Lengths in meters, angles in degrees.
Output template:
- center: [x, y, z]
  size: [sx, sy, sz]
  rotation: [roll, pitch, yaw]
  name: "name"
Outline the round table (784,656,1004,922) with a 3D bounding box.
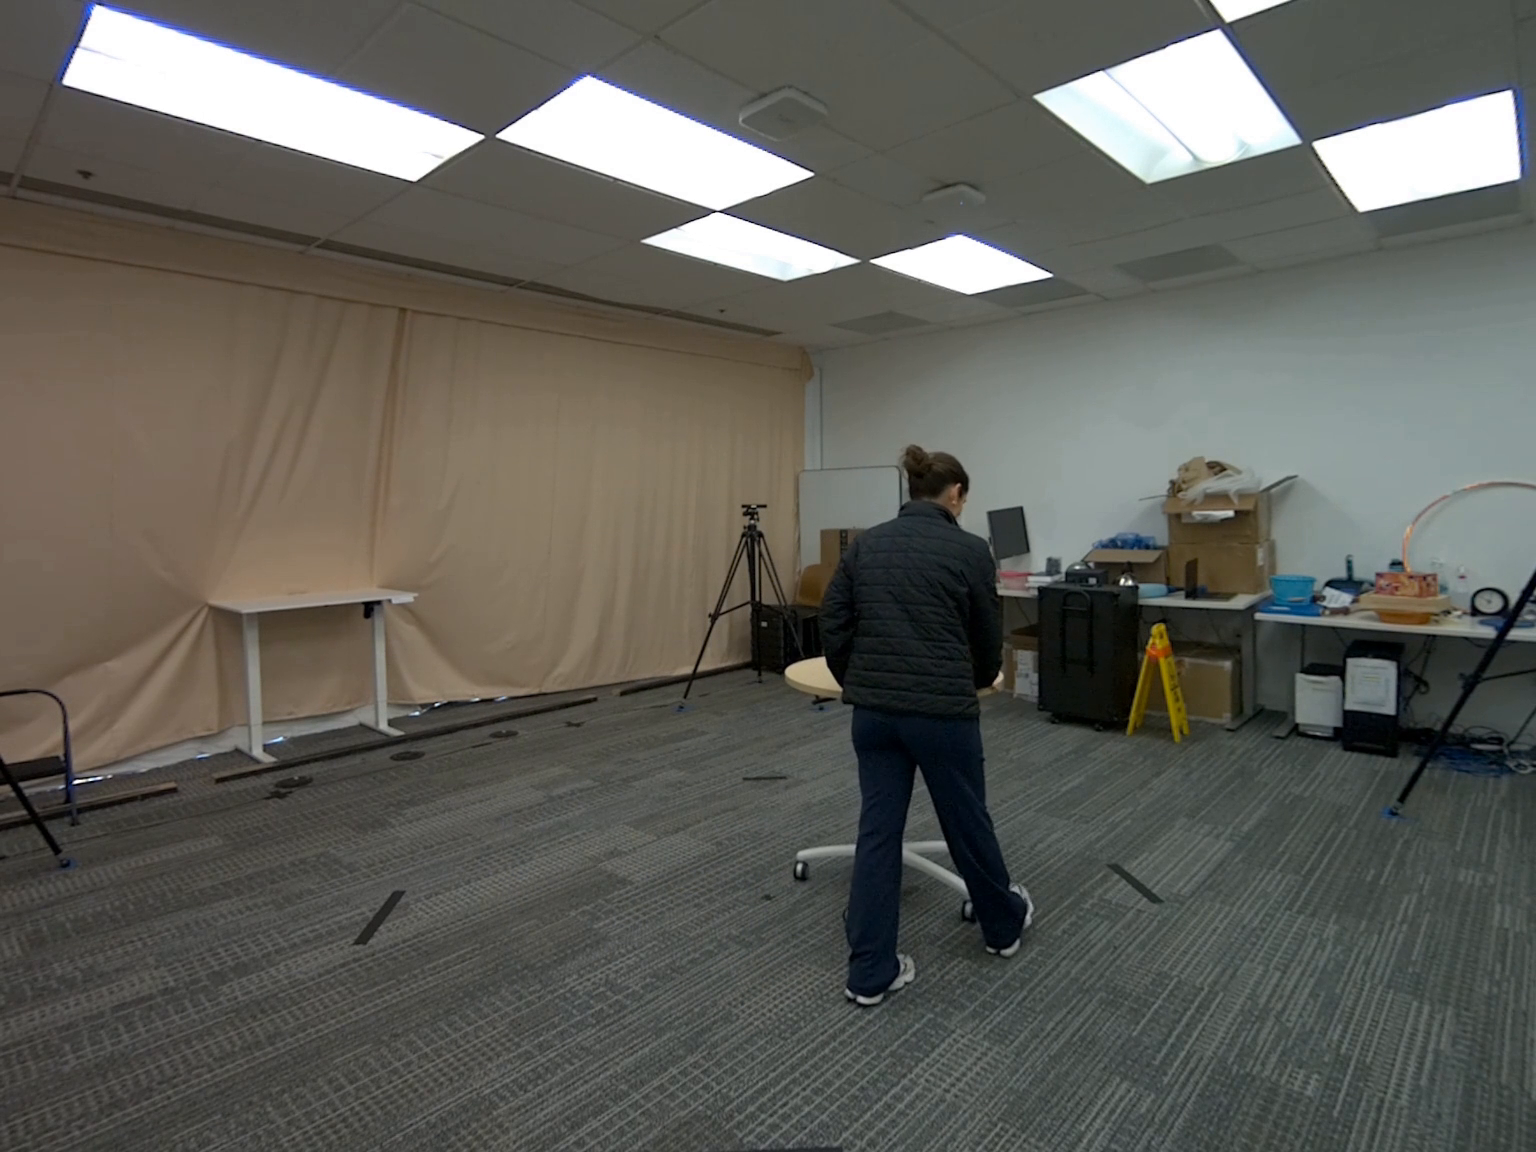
- center: [0.479, 0.734, 3.037]
  size: [0.784, 0.785, 0.788]
  rotation: [-1, 4, -2]
  name: "round table"
